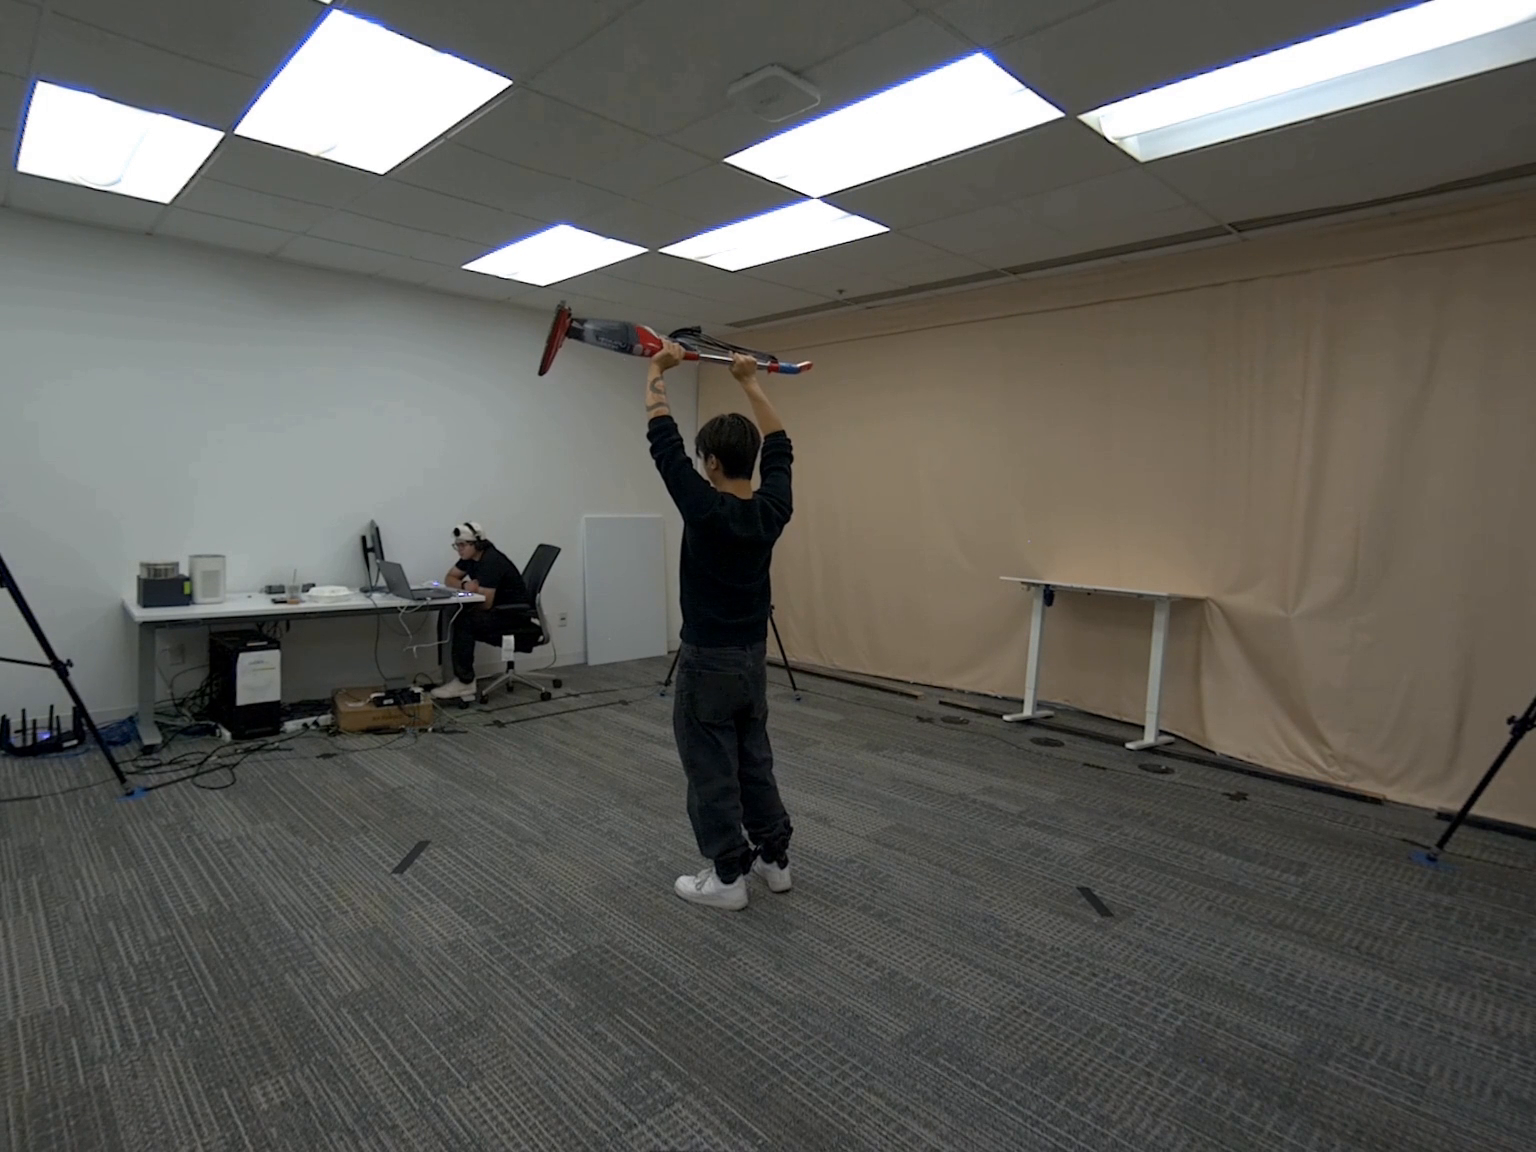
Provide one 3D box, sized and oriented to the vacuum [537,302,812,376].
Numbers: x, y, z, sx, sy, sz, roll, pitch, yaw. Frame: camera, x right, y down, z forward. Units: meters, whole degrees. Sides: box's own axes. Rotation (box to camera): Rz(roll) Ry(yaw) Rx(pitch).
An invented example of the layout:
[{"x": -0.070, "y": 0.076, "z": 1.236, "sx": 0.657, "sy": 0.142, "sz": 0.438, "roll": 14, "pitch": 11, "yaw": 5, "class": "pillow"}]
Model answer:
[{"x": -0.266, "y": -0.785, "z": 2.907, "sx": 1.027, "sy": 0.250, "sz": 0.148, "roll": -4, "pitch": 46, "yaw": -36, "class": "vacuum"}]
